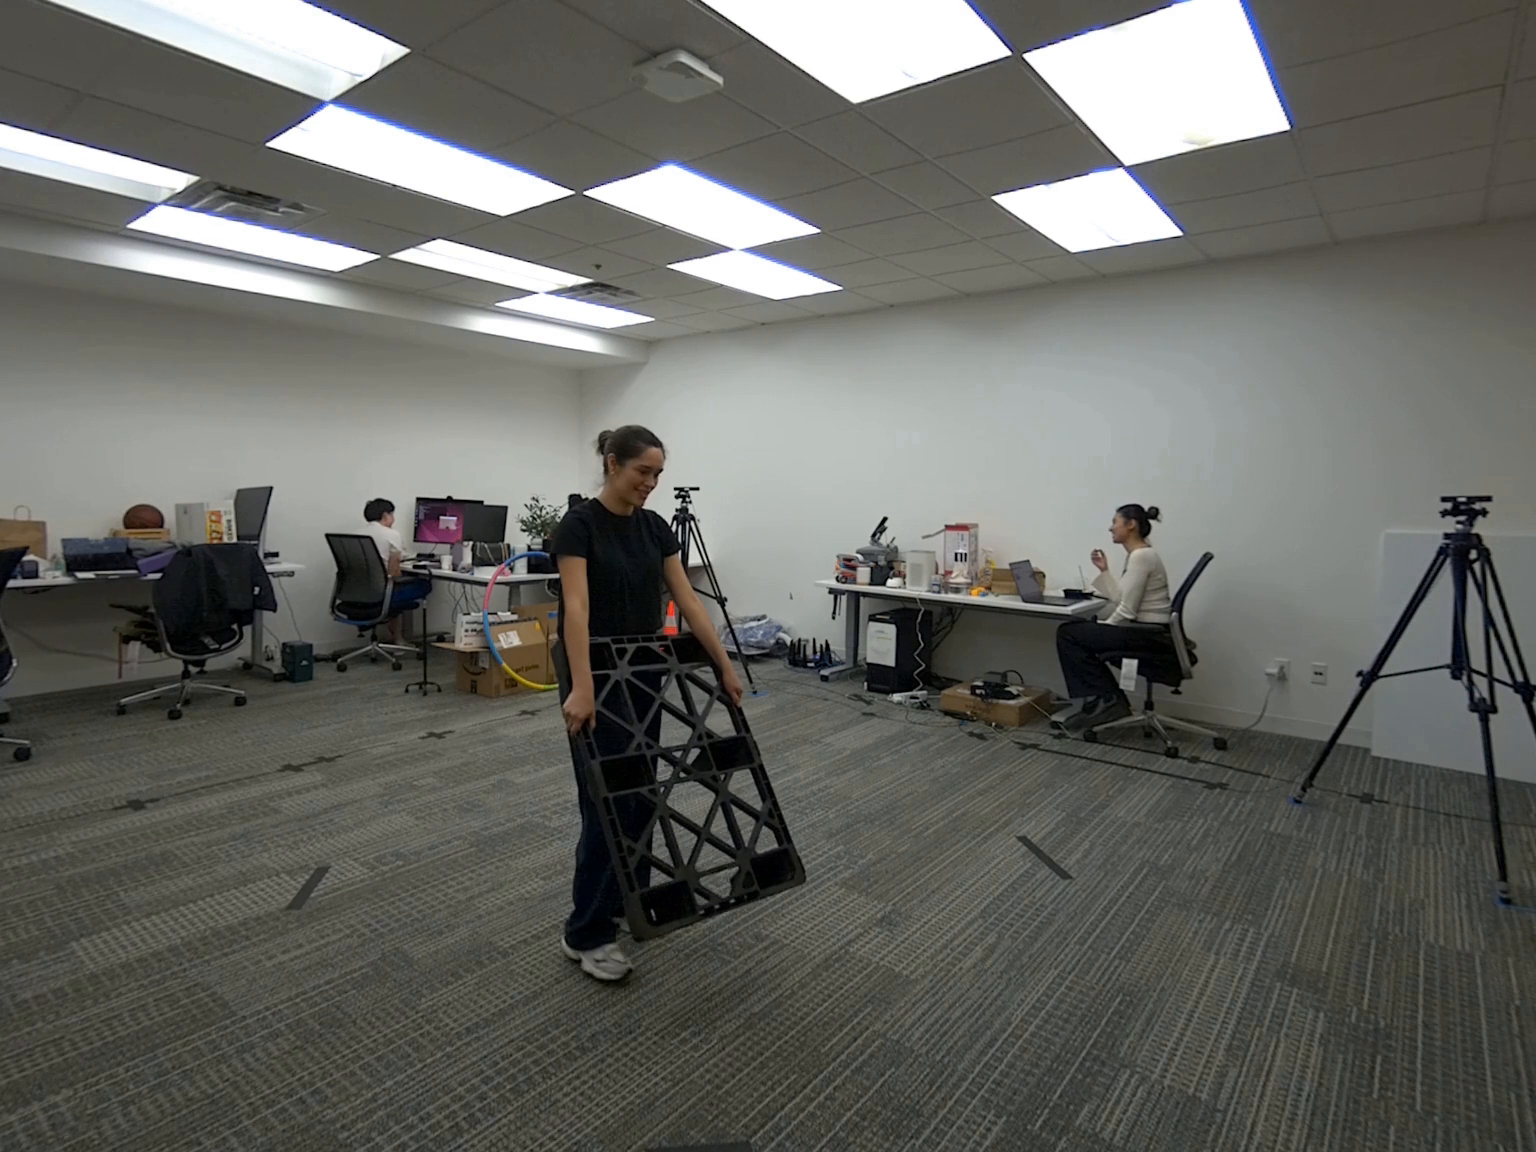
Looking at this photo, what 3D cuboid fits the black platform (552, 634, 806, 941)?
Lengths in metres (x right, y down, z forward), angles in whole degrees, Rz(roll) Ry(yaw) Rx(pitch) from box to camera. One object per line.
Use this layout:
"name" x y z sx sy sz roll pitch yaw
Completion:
"black platform" -0.262 0.548 2.427 0.585 0.829 0.144 3 -34 -45
